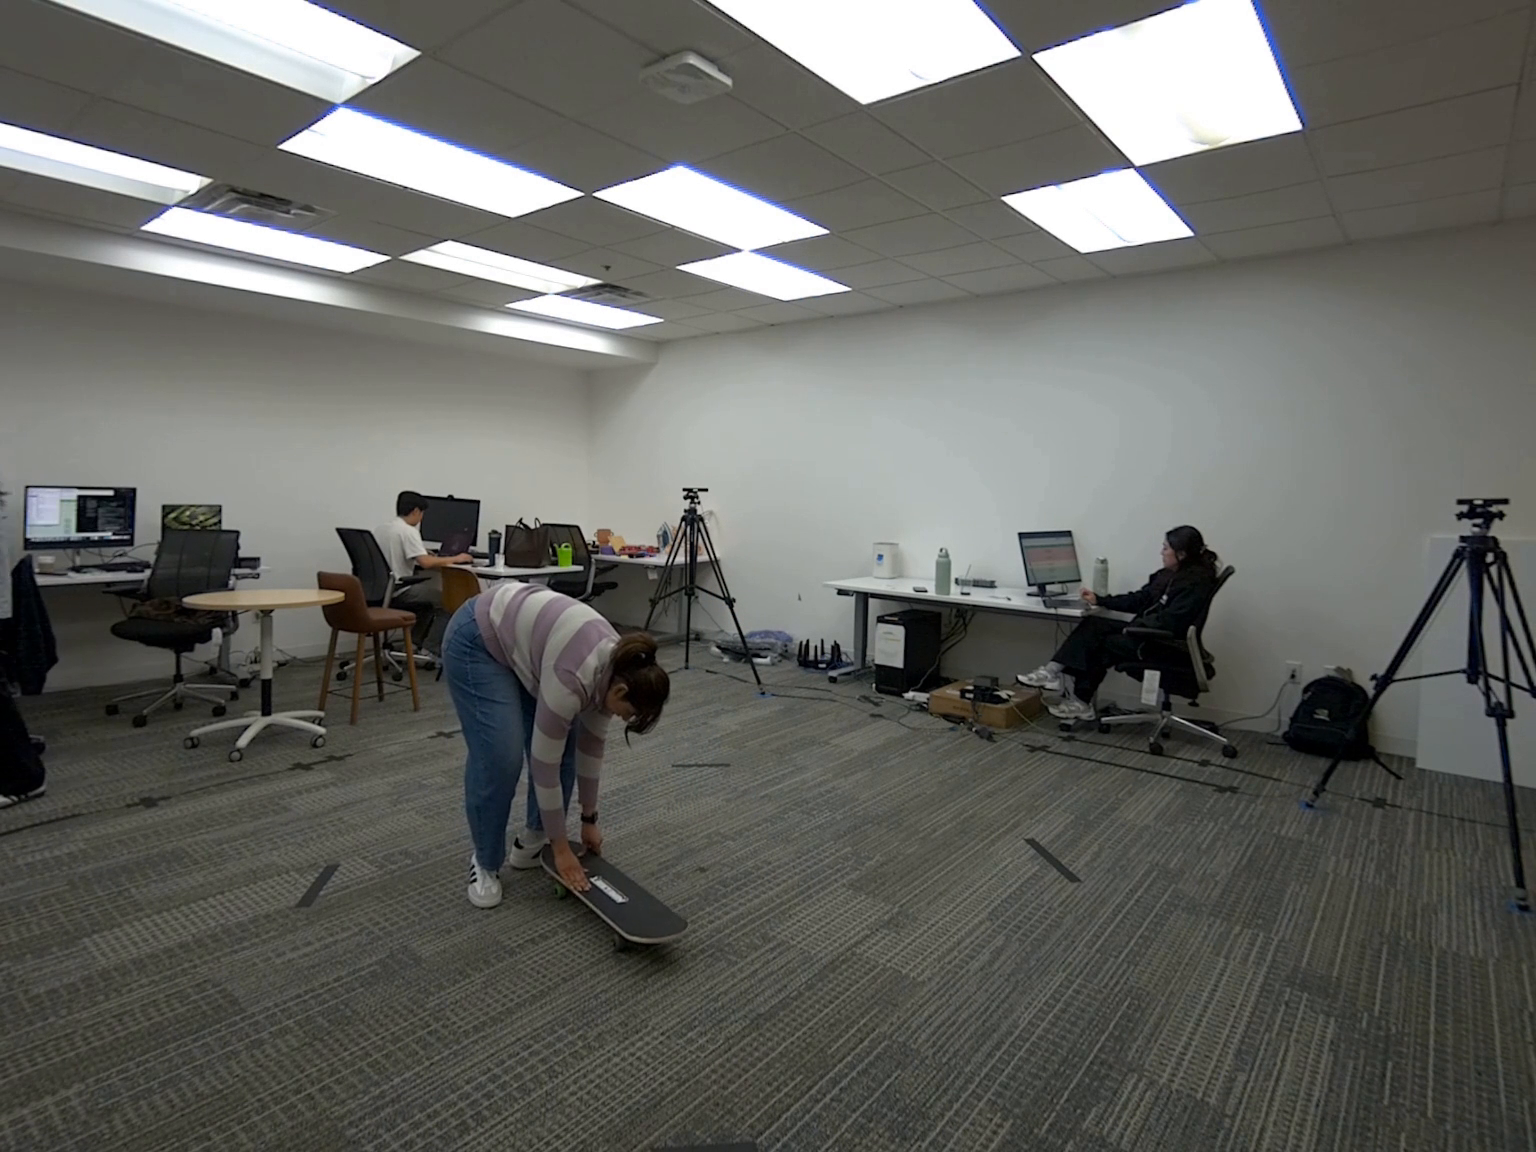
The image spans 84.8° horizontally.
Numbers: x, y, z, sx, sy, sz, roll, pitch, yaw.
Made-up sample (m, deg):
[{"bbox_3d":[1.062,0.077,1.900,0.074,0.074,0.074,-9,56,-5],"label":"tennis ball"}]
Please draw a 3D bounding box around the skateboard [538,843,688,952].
[{"bbox_3d":[-0.525,1.039,2.749,0.188,0.110,0.812,-3,7,-38],"label":"skateboard"}]
